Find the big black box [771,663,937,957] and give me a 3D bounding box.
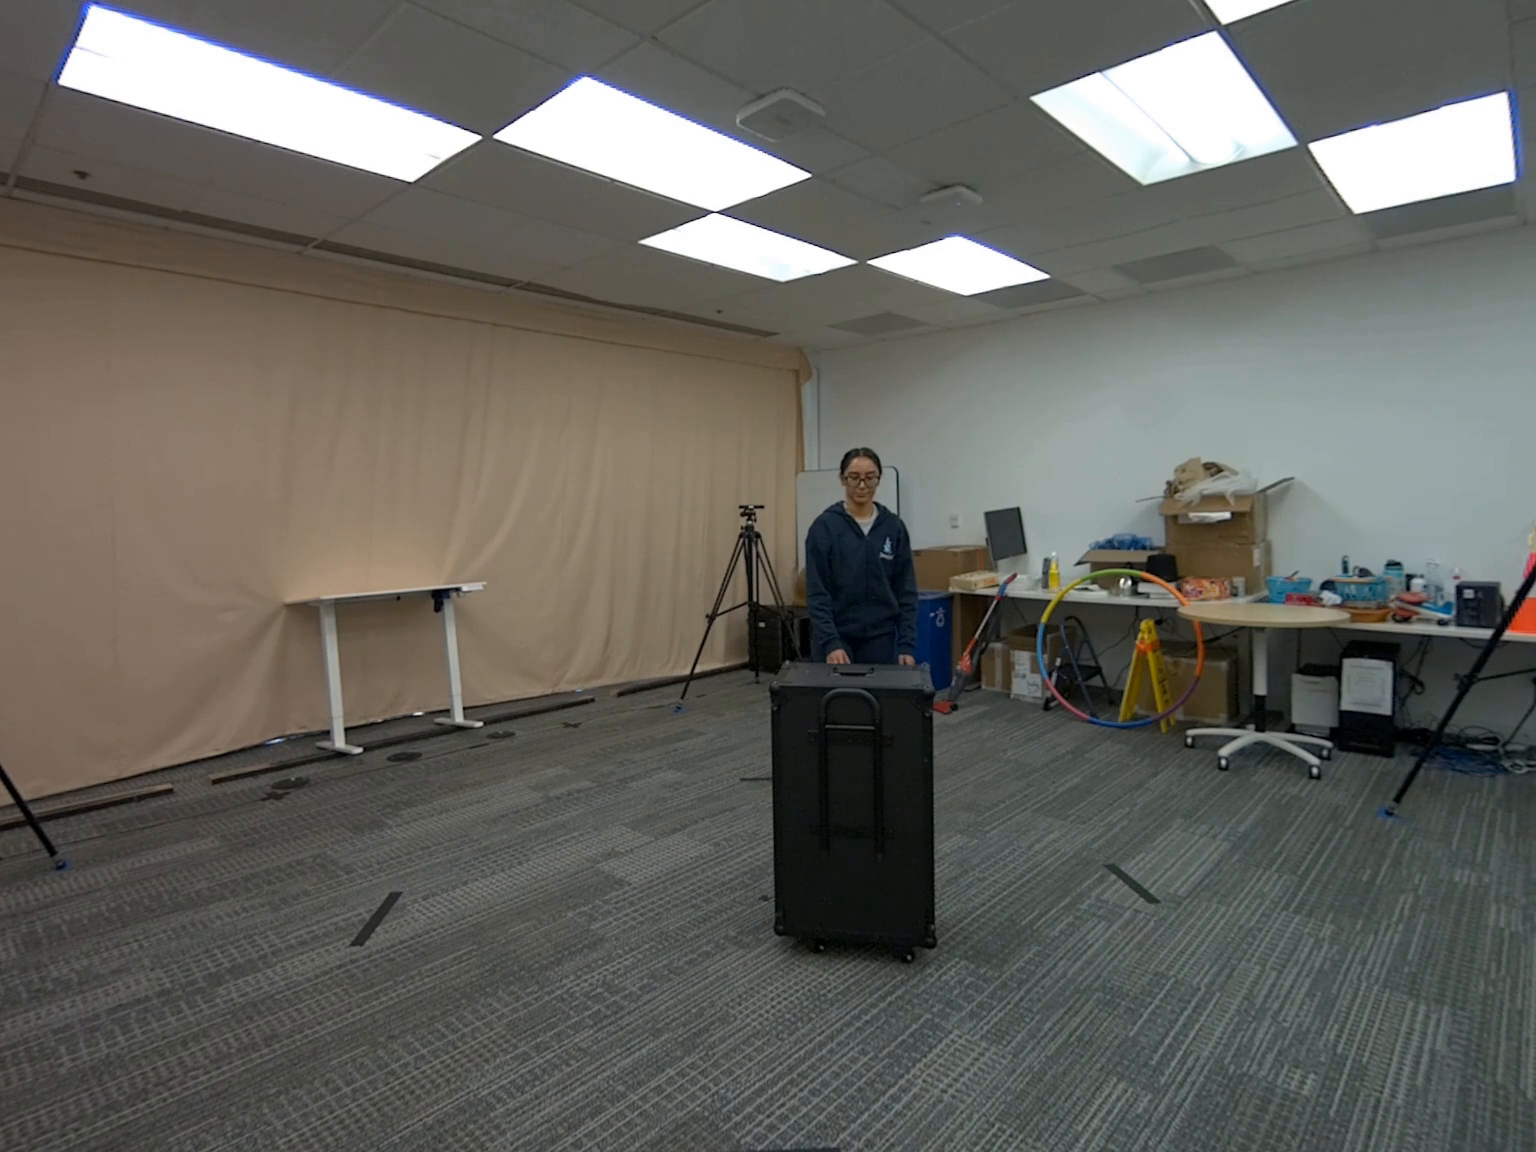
[{"bbox_3d":[0.277,0.743,2.678,0.528,0.859,0.392,0,4,12],"label":"big black box"}]
